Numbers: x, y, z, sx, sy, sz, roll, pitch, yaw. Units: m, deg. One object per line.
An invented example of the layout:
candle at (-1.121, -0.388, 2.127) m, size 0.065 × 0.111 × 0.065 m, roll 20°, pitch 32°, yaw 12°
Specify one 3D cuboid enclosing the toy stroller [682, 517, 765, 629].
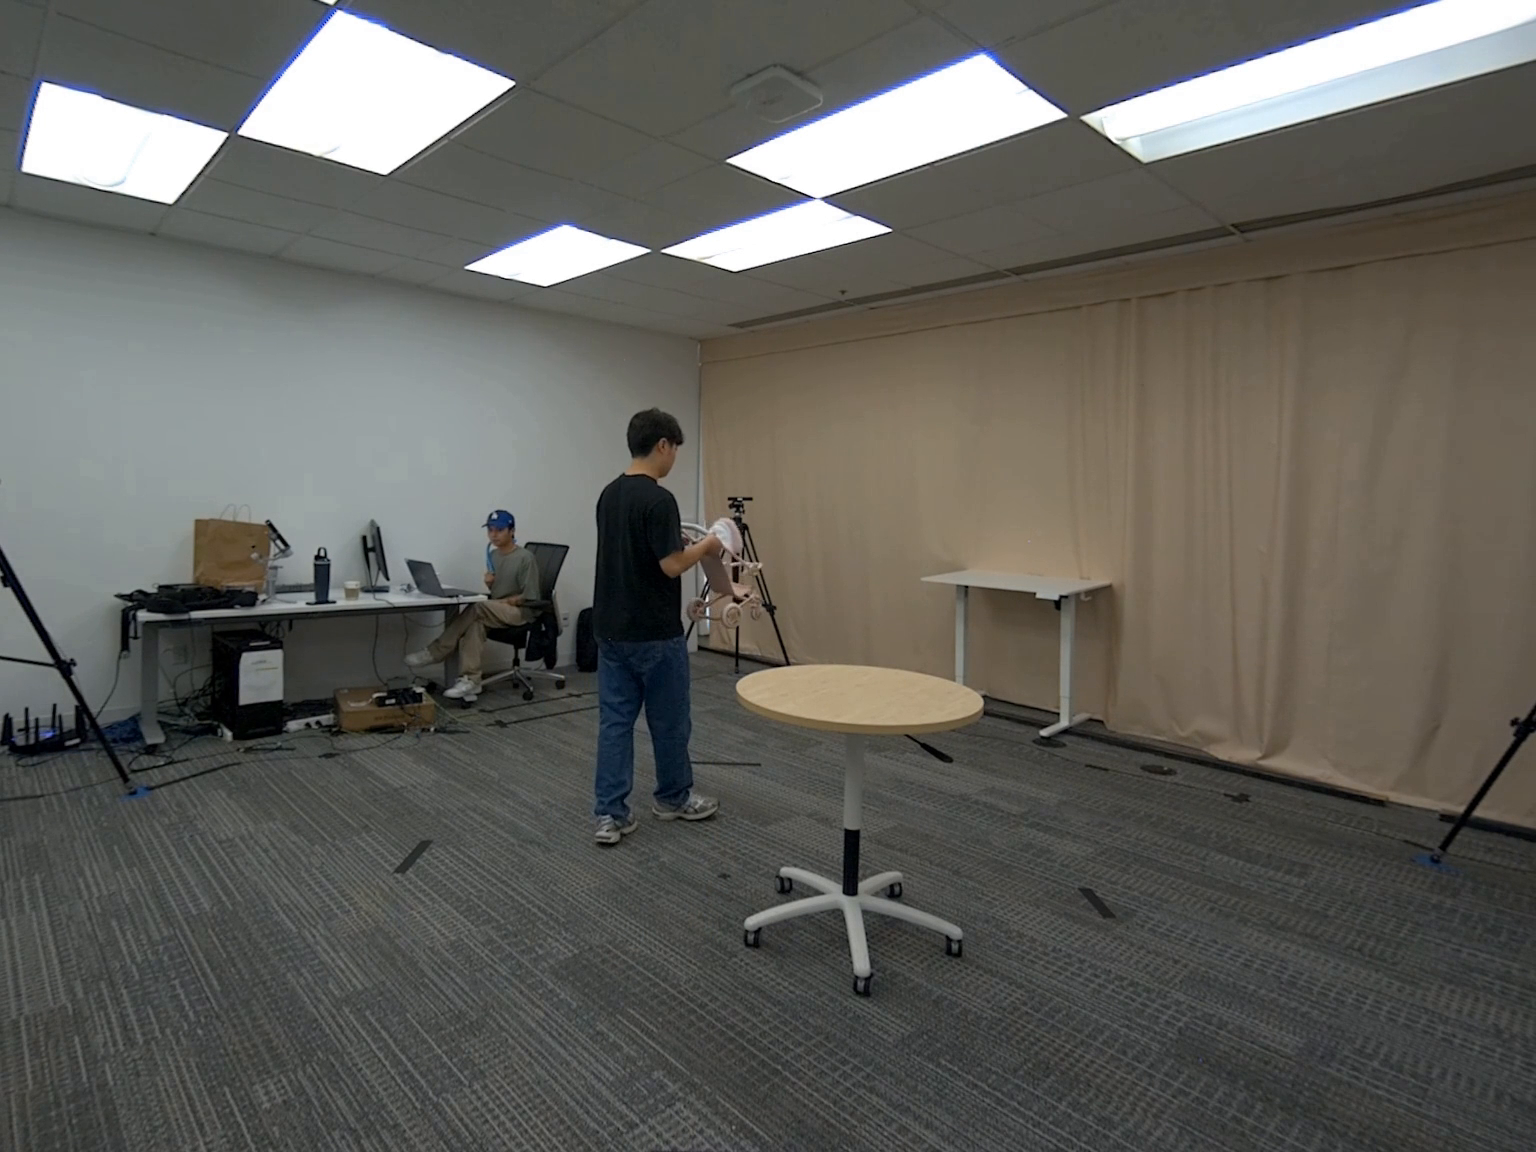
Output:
toy stroller at (-0.196, -0.018, 3.732) m, size 0.336 × 0.529 × 0.288 m, roll -19°, pitch 14°, yaw -34°
